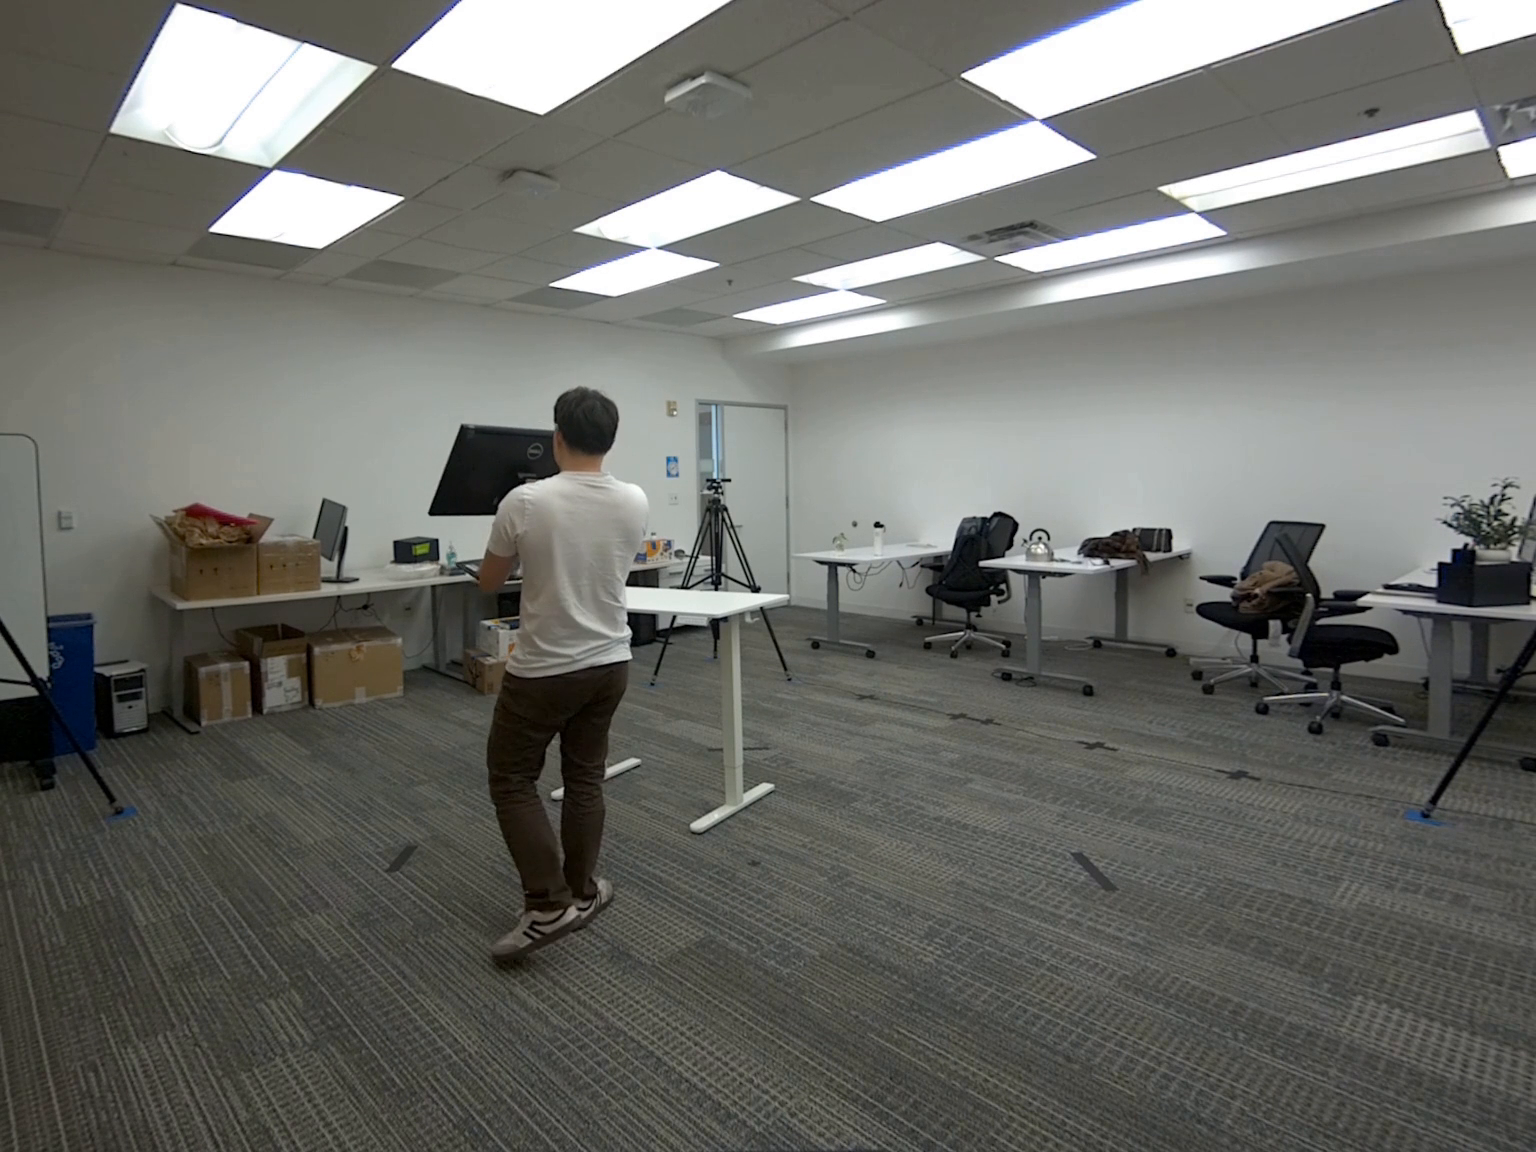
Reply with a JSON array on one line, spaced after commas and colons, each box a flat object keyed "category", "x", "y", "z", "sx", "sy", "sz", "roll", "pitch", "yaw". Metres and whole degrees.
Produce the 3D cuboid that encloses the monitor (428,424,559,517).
[{"category": "monitor", "x": -0.835, "y": -0.243, "z": 2.848, "sx": 0.194, "sy": 0.517, "sz": 0.525, "roll": 33, "pitch": 25, "yaw": 33}]
